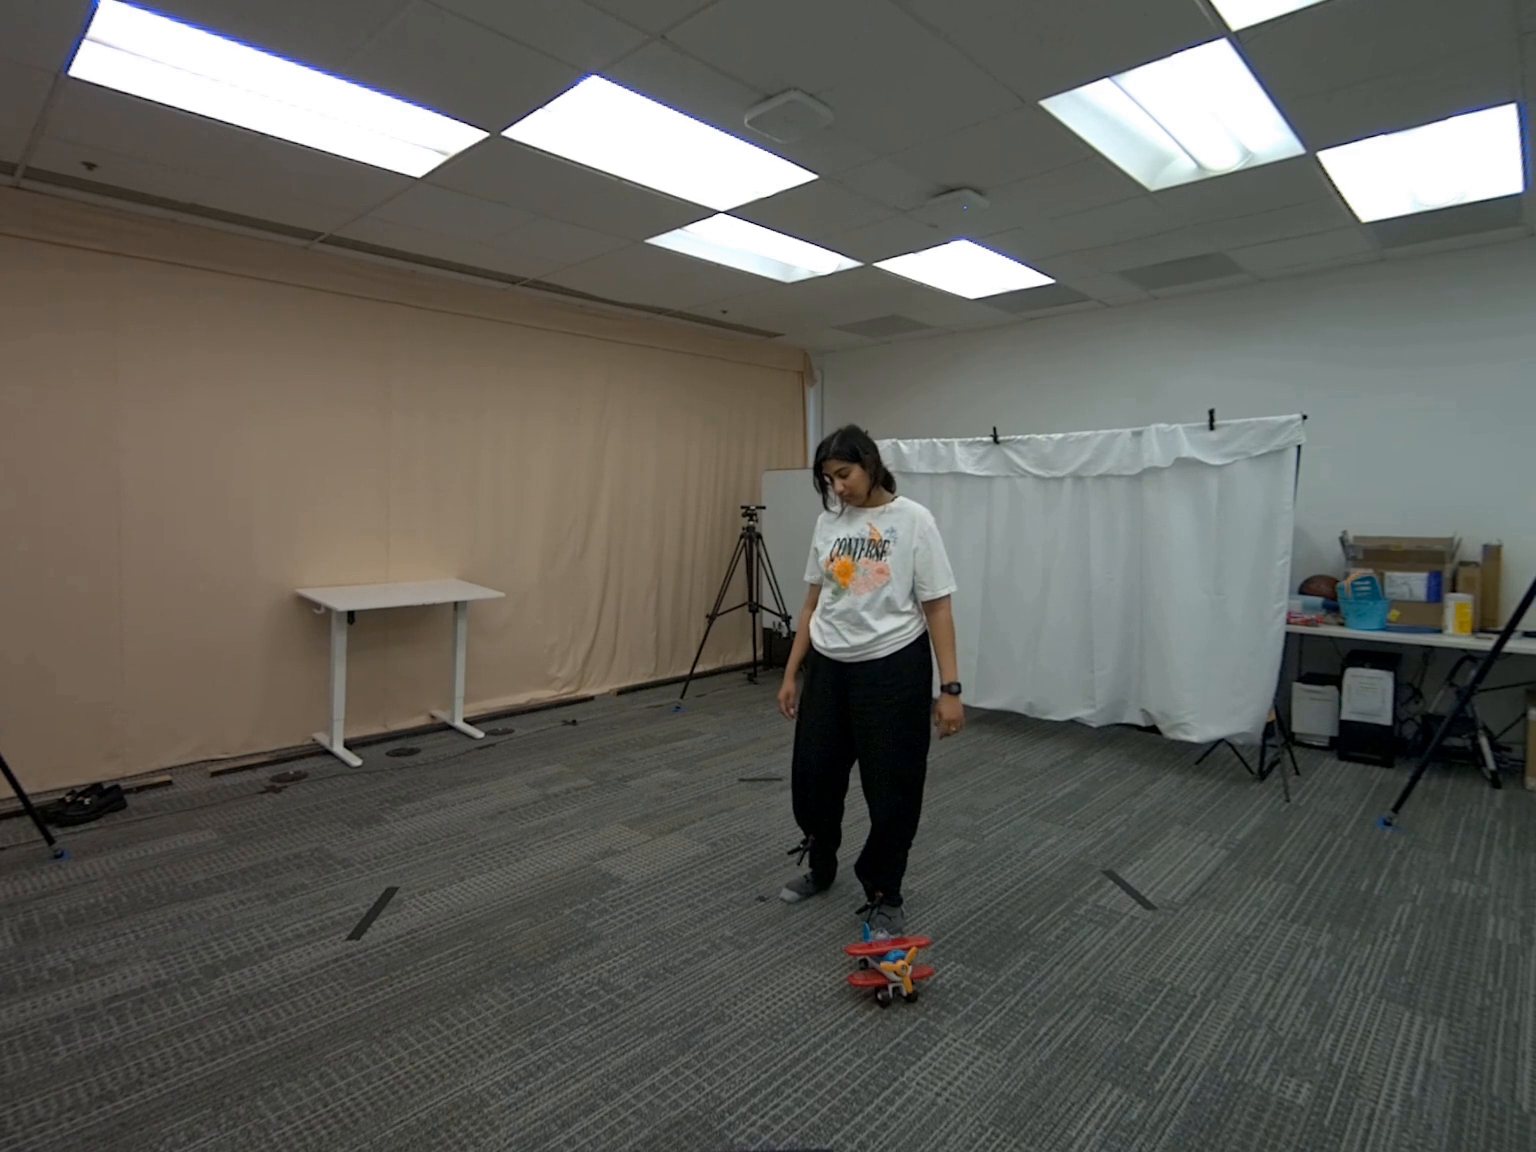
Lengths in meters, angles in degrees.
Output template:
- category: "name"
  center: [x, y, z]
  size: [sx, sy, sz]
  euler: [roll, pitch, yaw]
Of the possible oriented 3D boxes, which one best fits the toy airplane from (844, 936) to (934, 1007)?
- category: "toy airplane"
  center: [0.322, 1.109, 2.430]
  size: [0.243, 0.156, 0.268]
  euler: [-5, 7, -43]
